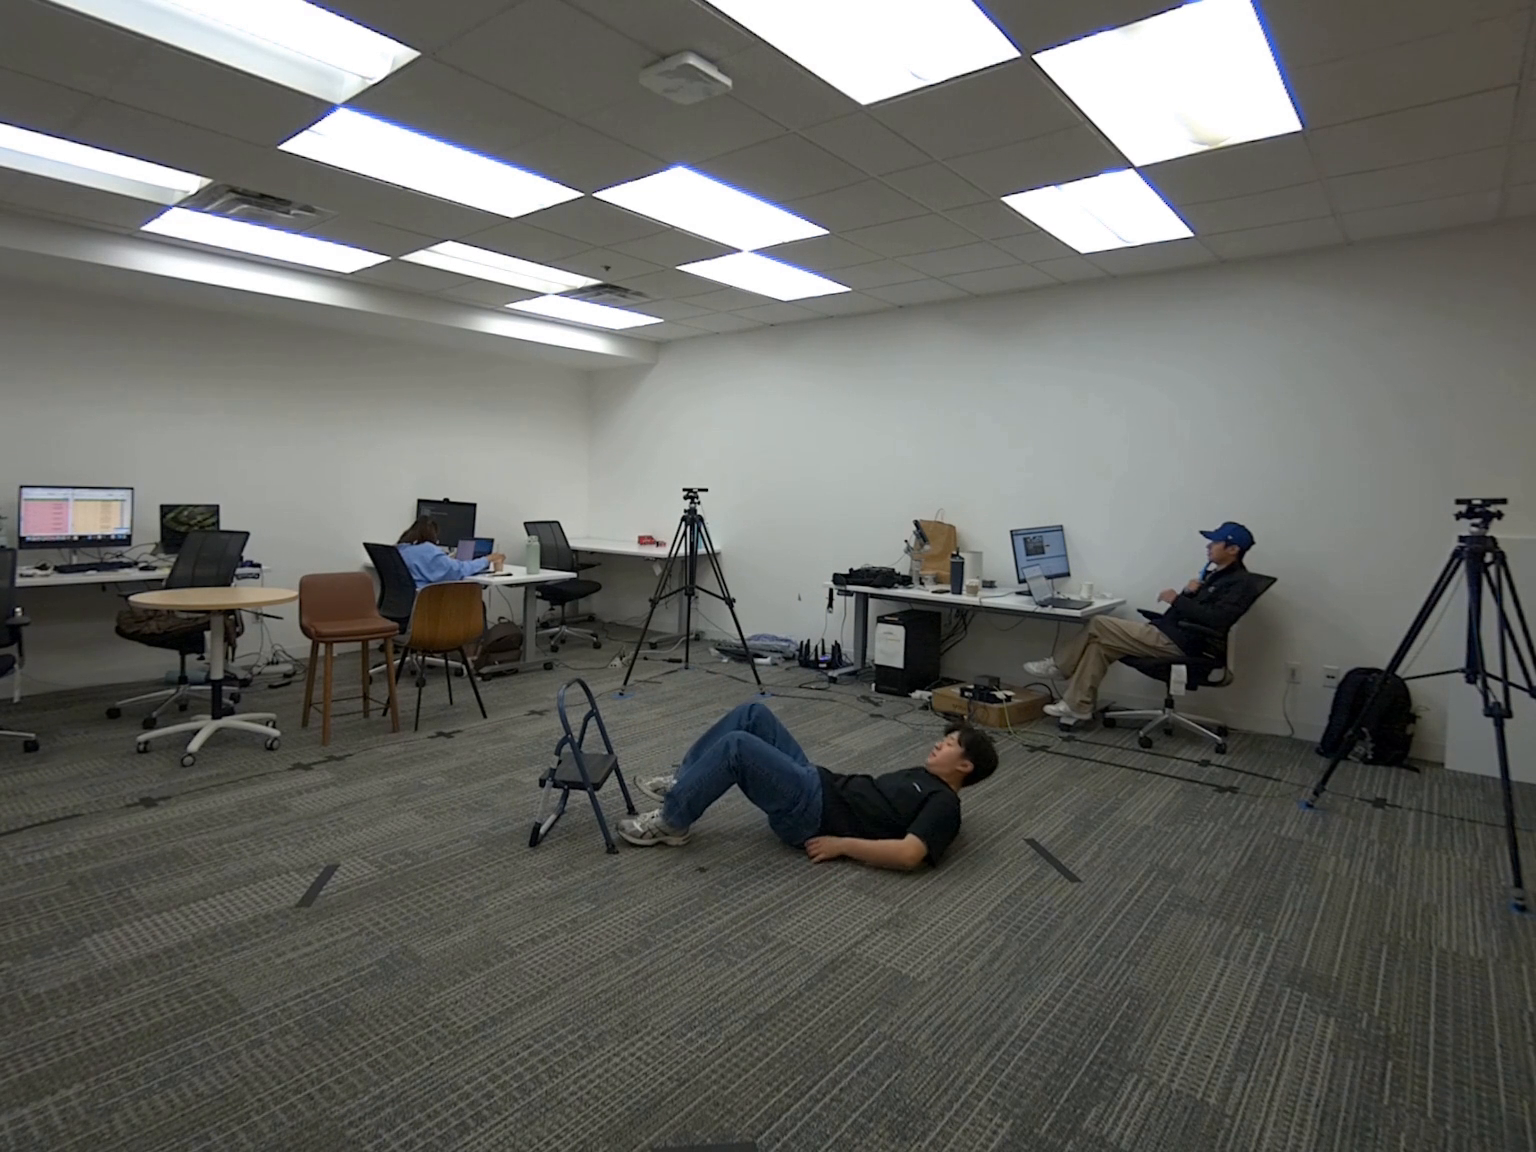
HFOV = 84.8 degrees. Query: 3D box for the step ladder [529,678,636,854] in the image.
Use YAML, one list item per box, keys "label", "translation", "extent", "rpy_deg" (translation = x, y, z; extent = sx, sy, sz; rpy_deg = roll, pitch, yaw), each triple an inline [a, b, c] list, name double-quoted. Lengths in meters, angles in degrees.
- label: "step ladder"
  translation: [-0.747, 0.726, 3.438]
  extent: [0.350, 0.605, 0.431]
  rpy_deg: [2, 3, 1]
